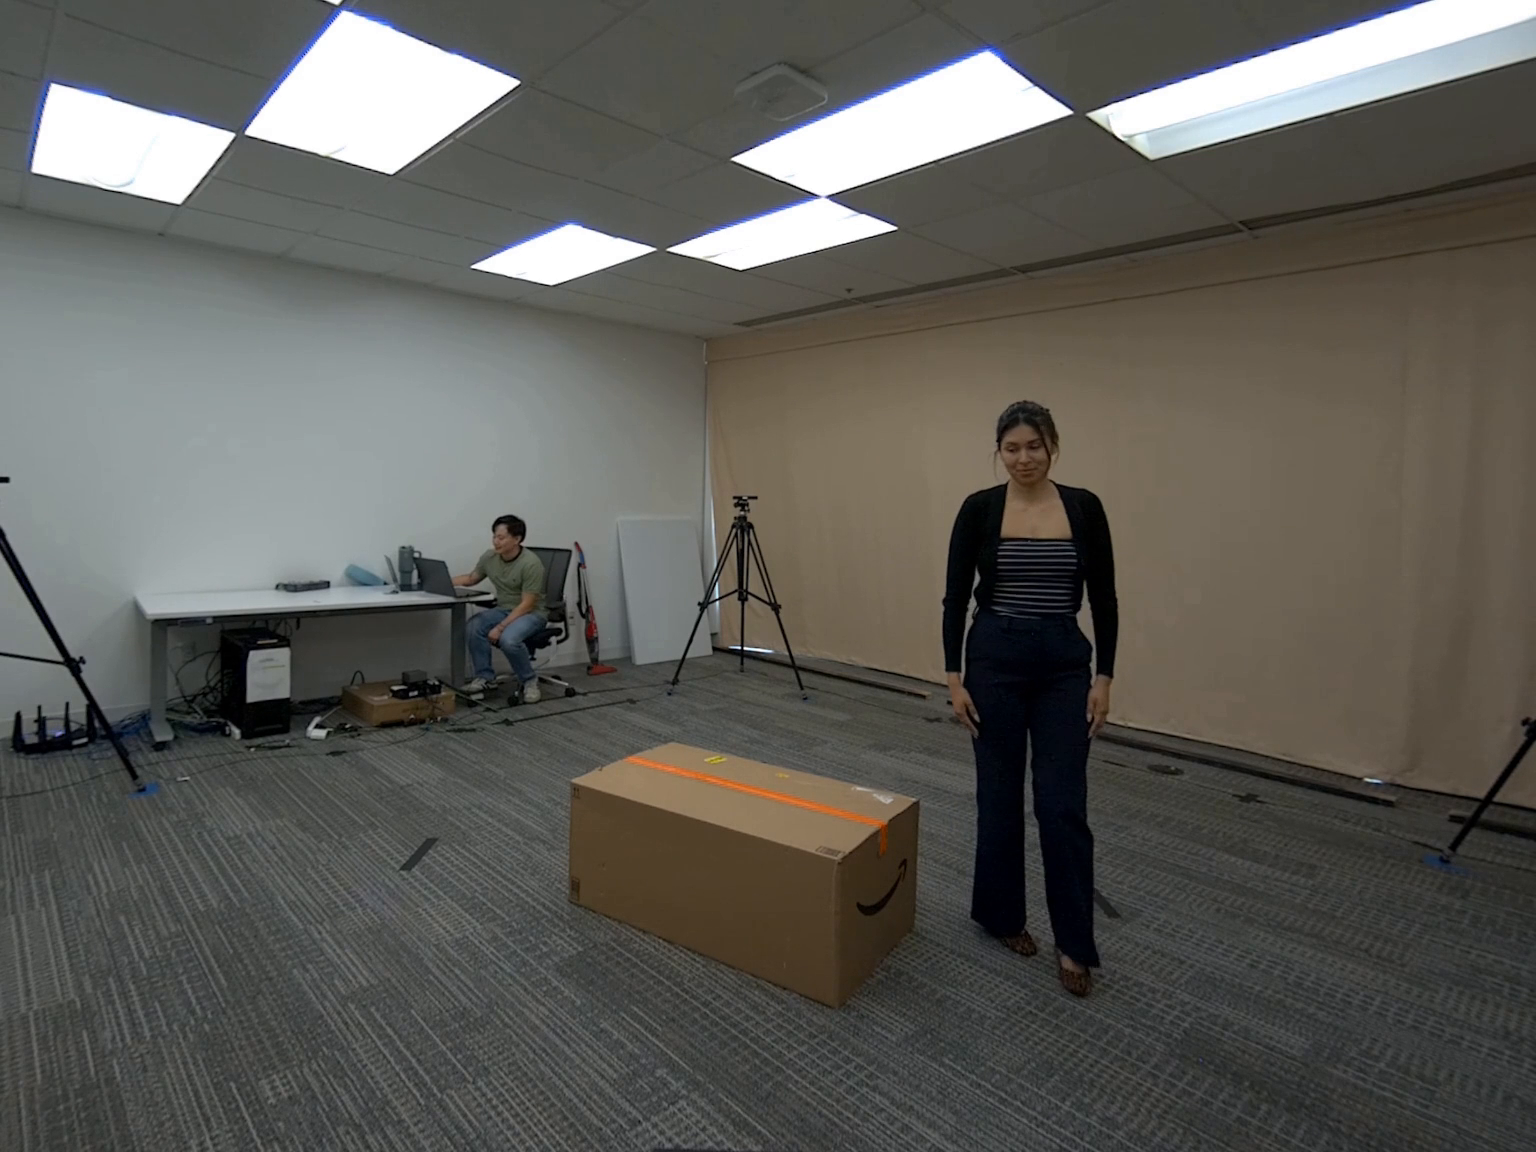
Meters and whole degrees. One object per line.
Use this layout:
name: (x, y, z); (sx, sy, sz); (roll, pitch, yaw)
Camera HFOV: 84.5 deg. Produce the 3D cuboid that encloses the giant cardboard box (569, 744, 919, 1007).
giant cardboard box: (-0.100, 0.920, 2.803); (1.050, 0.425, 0.566); (5, 6, 33)
